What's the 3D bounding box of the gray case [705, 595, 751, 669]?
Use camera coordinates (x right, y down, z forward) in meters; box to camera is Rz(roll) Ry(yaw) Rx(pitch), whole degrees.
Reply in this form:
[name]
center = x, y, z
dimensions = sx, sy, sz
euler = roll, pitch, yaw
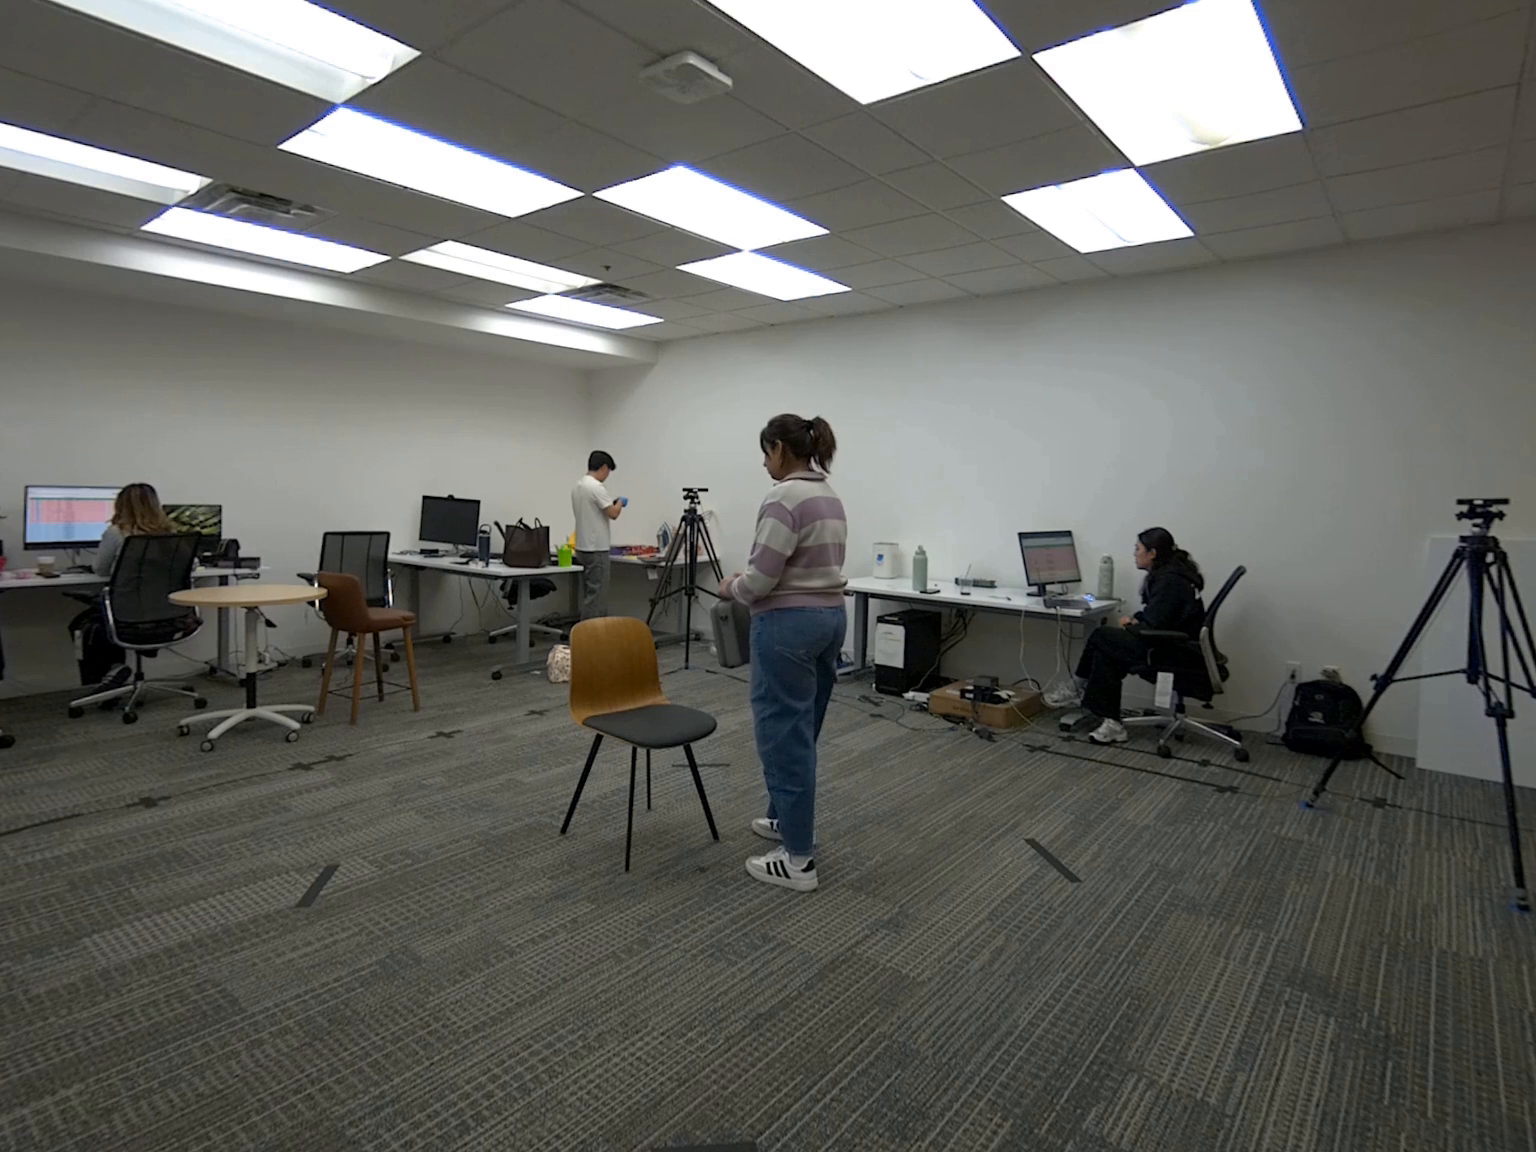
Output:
[gray case]
center = -0.119, 0.194, 3.291
dimensions = 0.107, 0.259, 0.253
euler = -7, 8, 26
